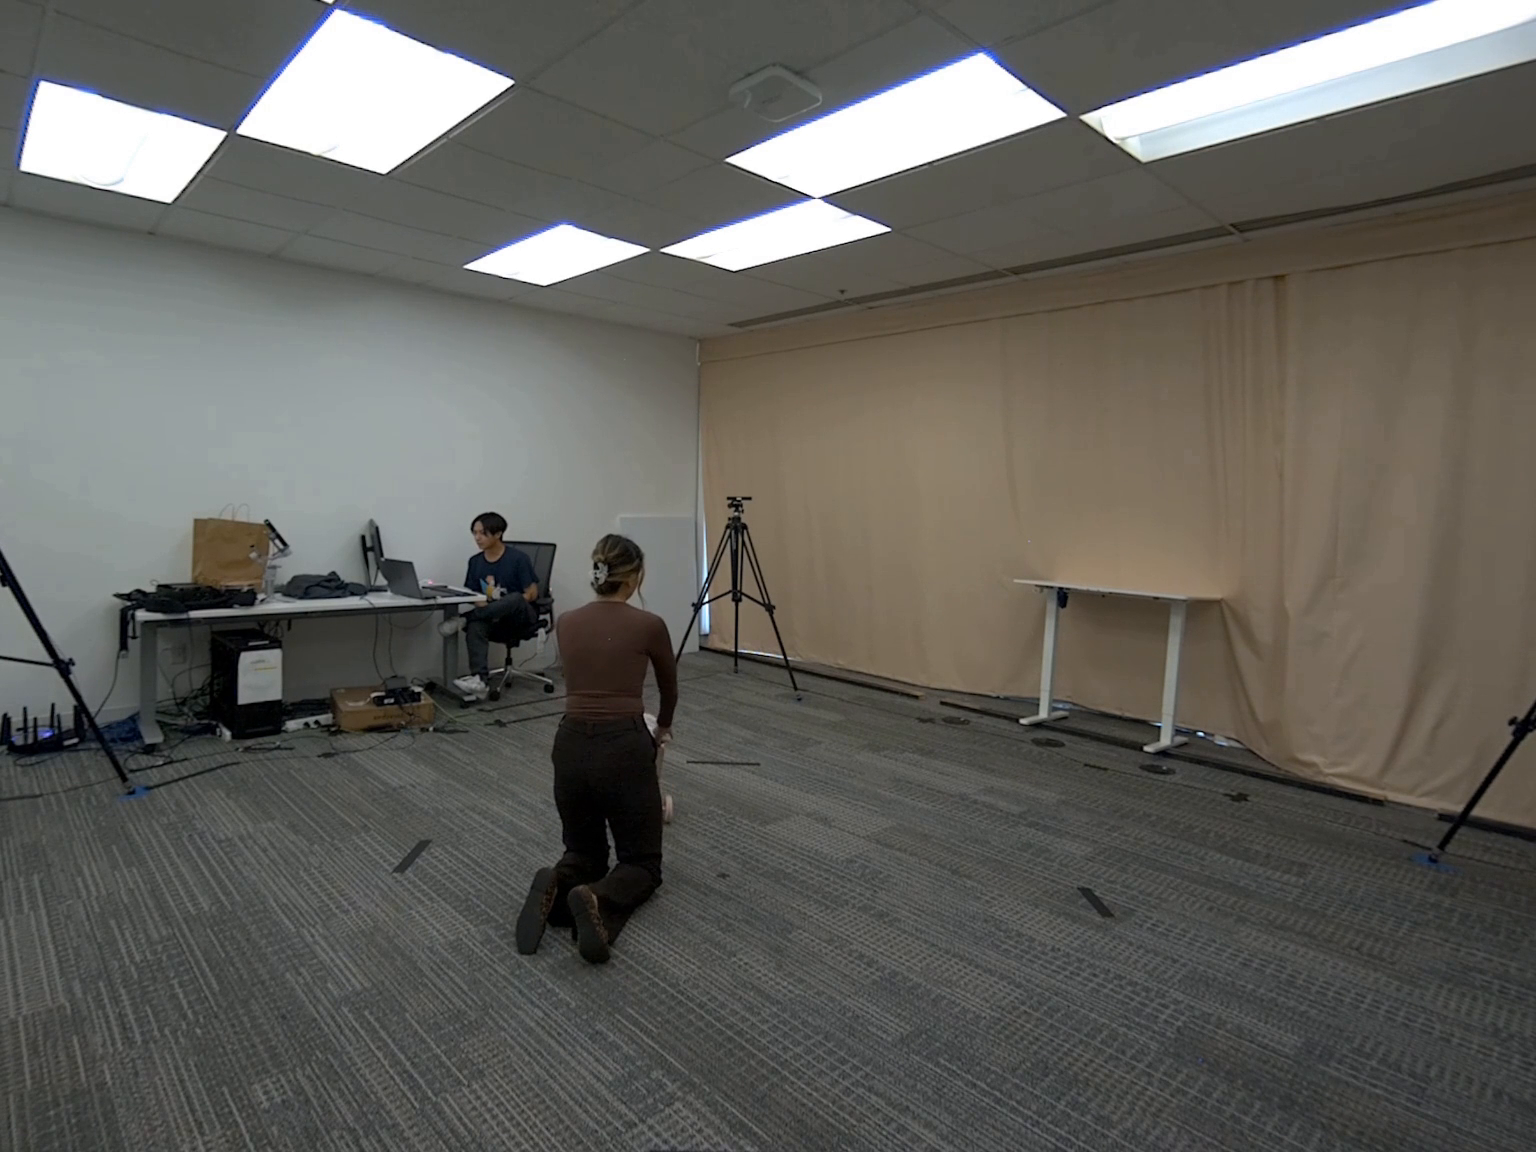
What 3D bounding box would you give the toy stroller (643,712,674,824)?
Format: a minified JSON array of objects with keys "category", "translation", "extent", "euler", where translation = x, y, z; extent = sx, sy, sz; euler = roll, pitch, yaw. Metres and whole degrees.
[{"category":"toy stroller","translation":[-0.555,0.832,3.632],"extent":[0.279,0.528,0.348],"euler":[1,20,-11]}]
